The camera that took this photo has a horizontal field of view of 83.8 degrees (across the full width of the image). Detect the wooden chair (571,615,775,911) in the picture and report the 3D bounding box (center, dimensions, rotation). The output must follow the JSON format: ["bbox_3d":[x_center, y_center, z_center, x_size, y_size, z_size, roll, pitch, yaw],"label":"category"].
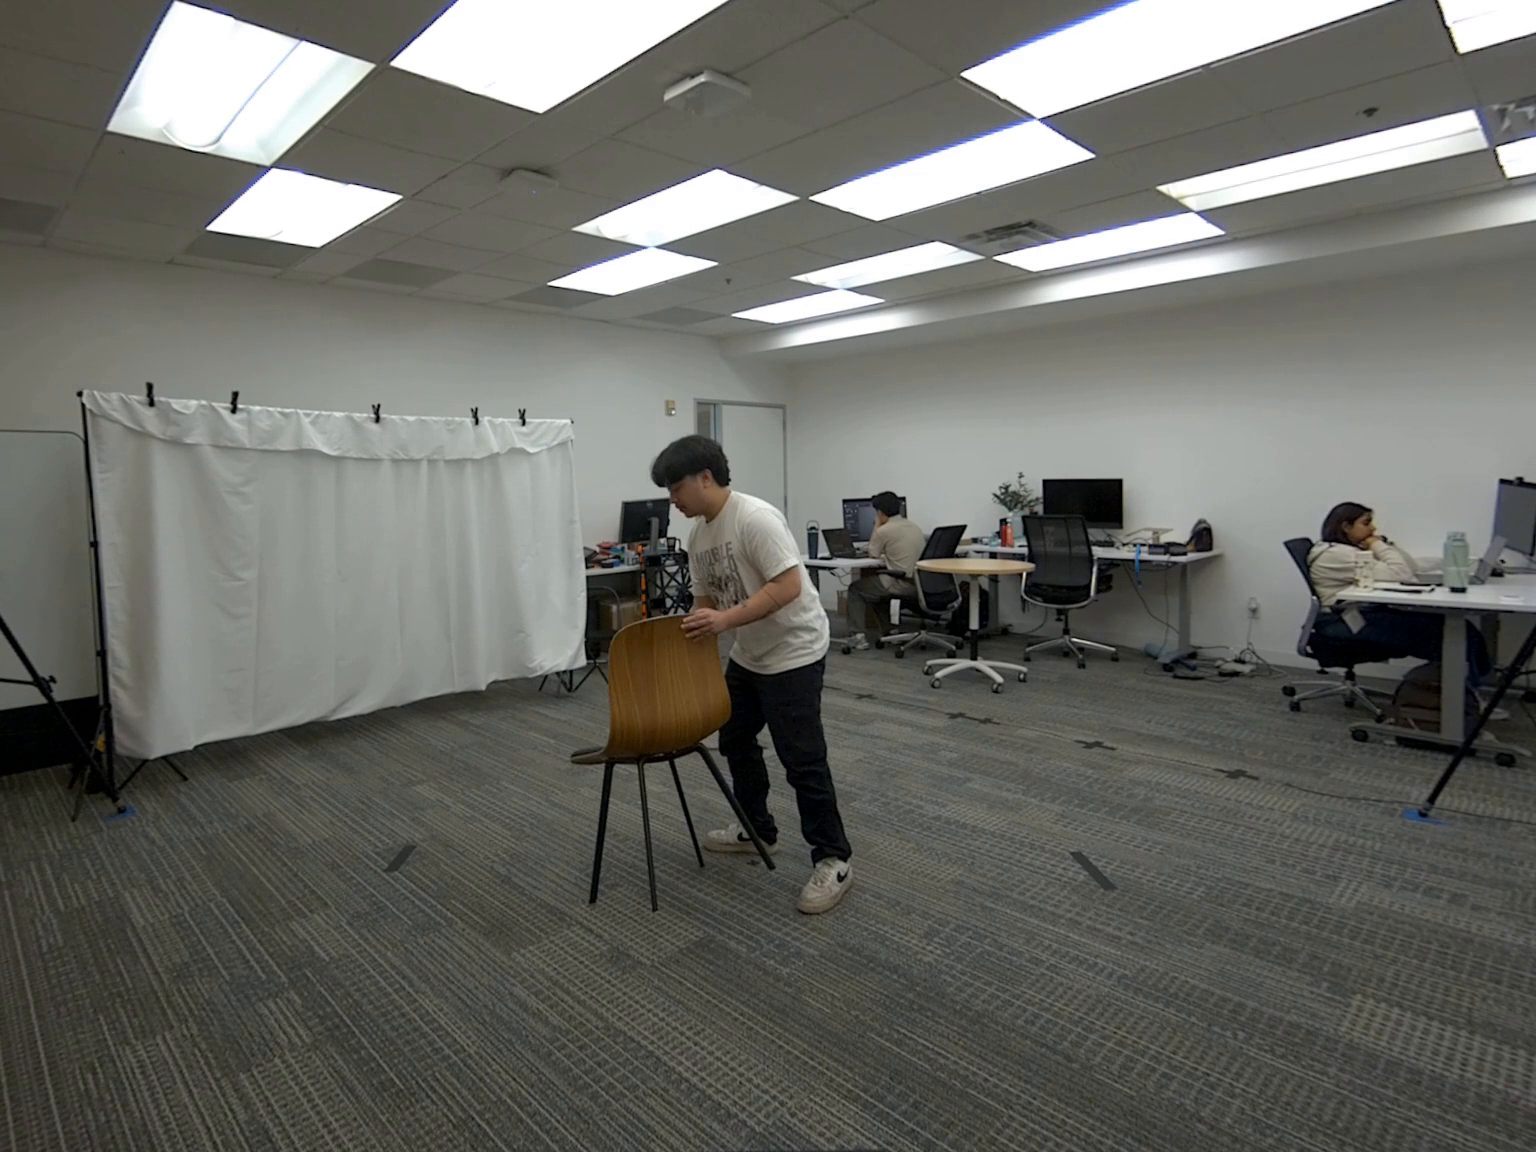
[{"bbox_3d":[-0.379,0.603,2.862,0.466,0.886,0.532,-4,-10,-36],"label":"wooden chair"}]
